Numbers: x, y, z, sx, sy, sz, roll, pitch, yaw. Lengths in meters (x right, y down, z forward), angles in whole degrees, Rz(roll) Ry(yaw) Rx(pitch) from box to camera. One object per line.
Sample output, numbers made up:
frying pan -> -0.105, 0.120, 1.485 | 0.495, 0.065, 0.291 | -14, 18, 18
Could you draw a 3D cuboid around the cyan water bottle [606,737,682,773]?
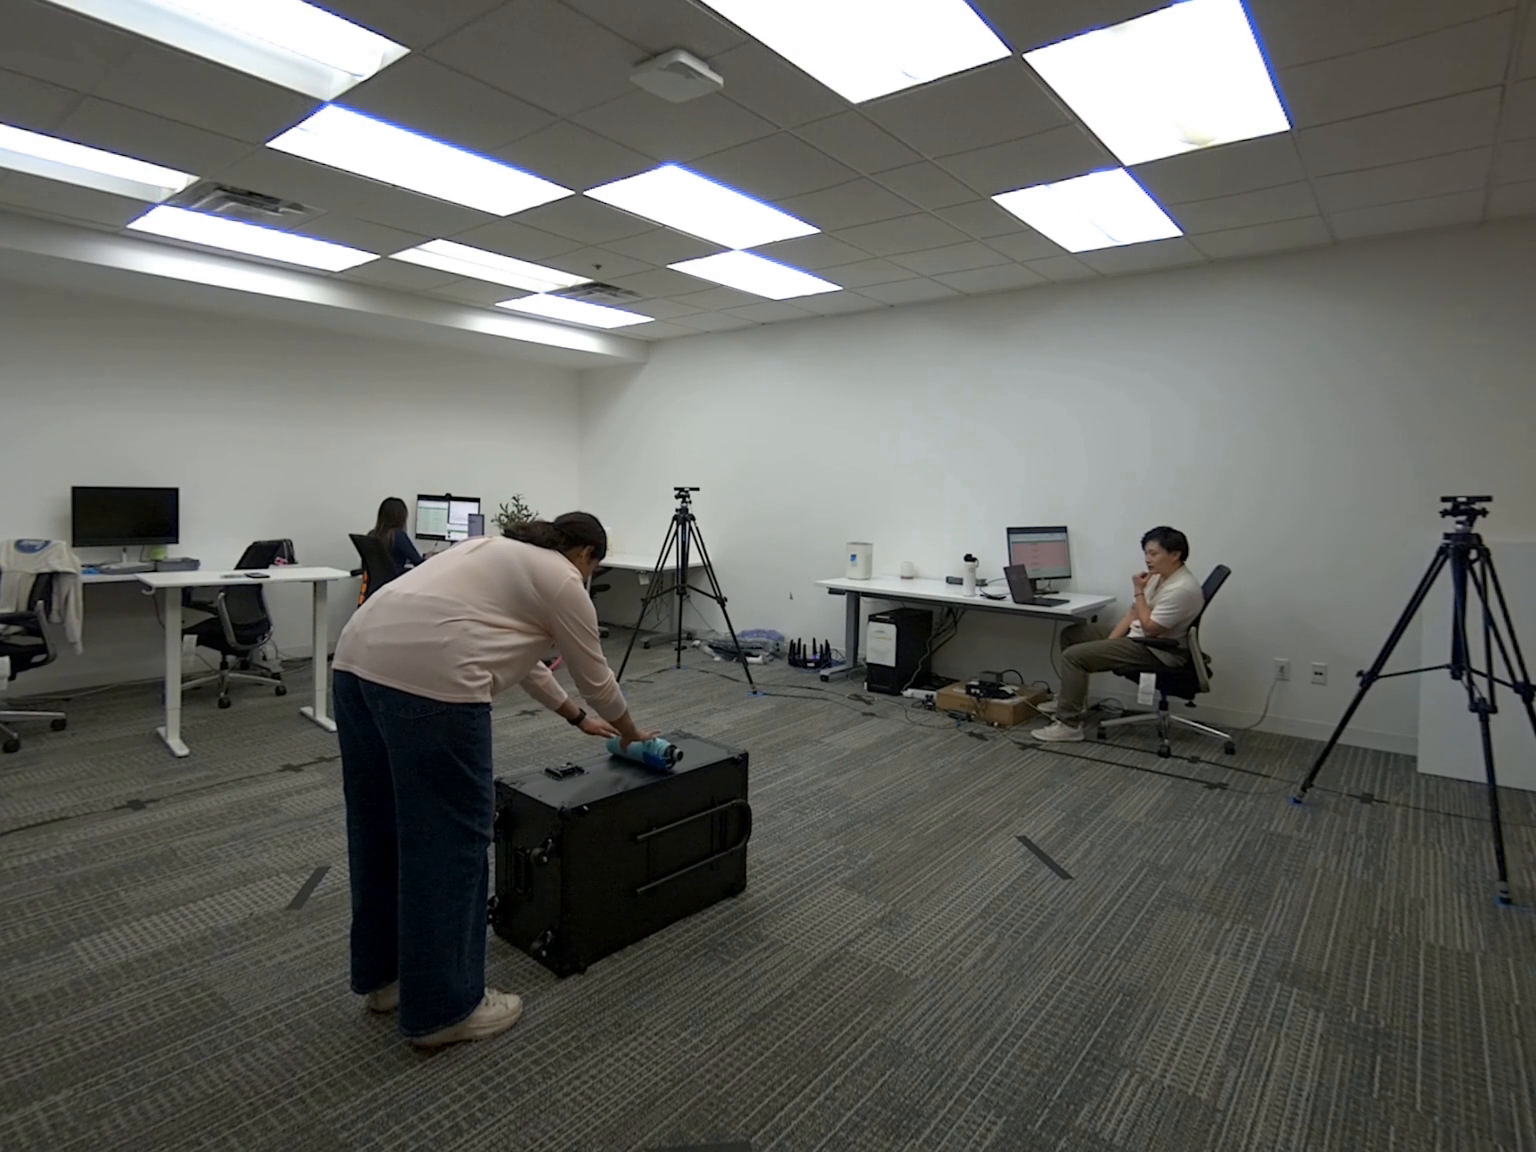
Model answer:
cyan water bottle -> -0.417, 0.561, 2.798 | 0.293, 0.092, 0.090 | 7, 7, 37
